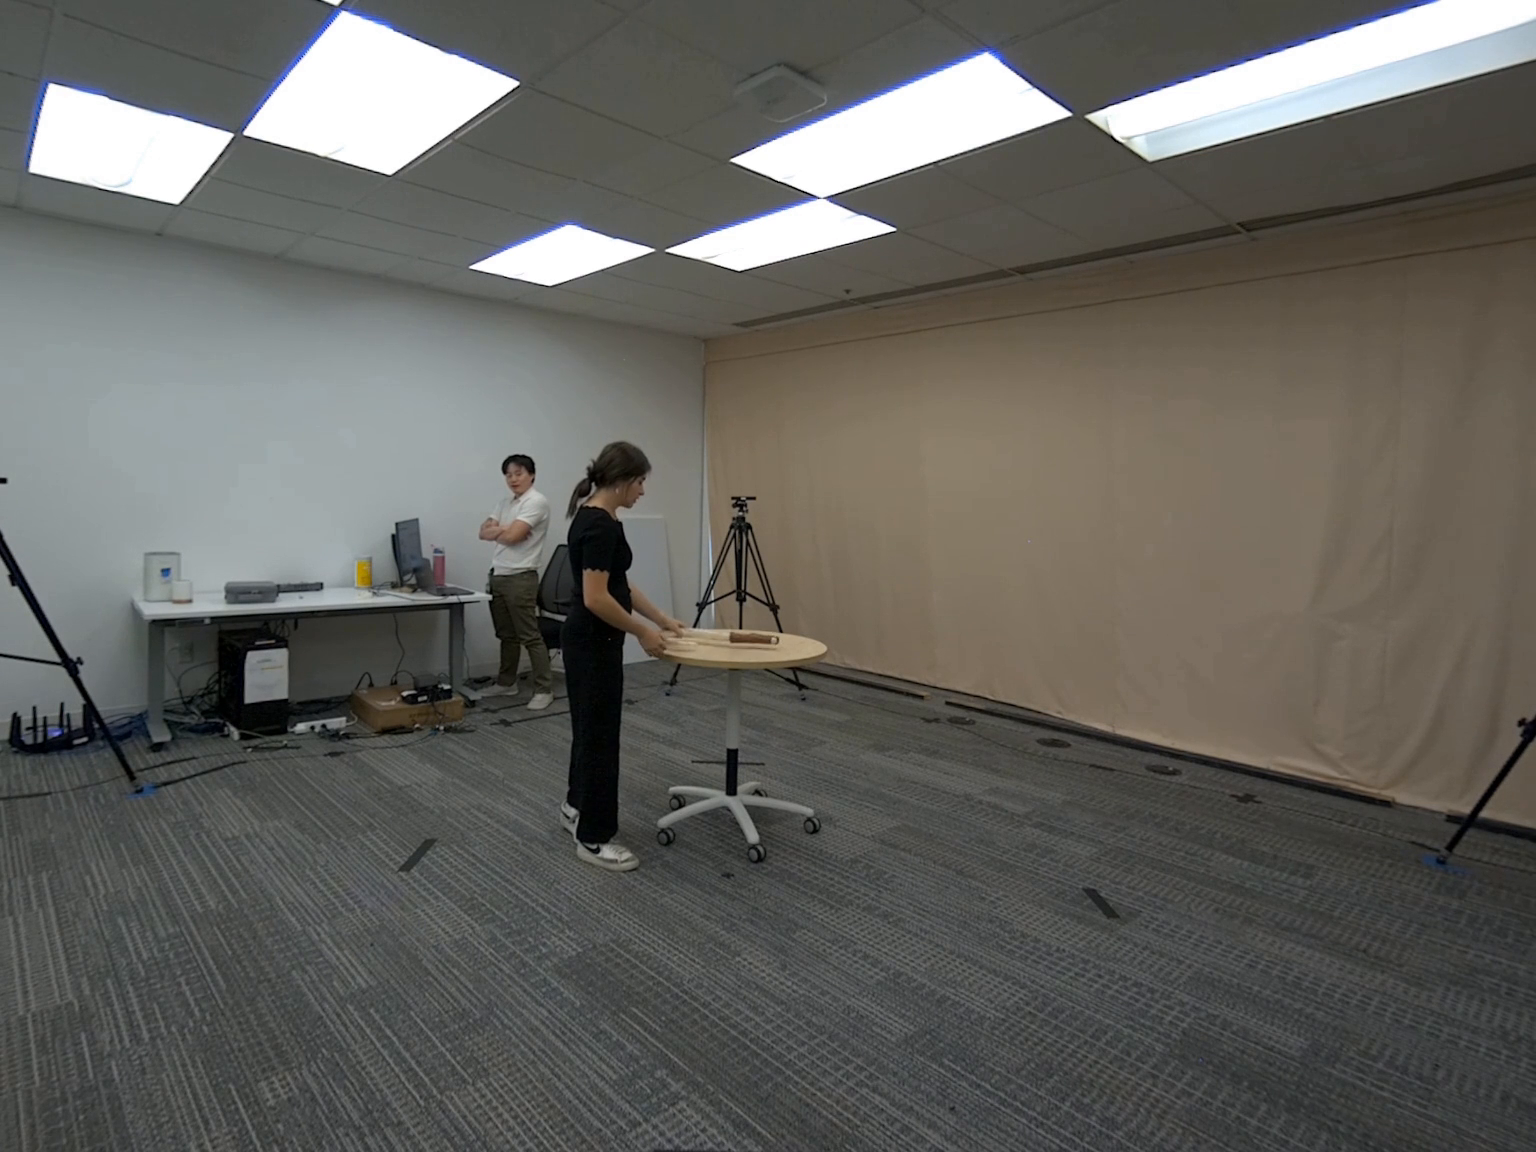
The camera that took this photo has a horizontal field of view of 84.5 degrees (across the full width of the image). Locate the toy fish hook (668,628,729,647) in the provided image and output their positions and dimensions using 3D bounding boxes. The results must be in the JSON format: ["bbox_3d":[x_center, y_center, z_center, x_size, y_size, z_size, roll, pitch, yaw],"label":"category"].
[{"bbox_3d":[-0.224,0.261,3.384,0.510,0.048,0.225,1,11,7],"label":"toy fish hook"}]
